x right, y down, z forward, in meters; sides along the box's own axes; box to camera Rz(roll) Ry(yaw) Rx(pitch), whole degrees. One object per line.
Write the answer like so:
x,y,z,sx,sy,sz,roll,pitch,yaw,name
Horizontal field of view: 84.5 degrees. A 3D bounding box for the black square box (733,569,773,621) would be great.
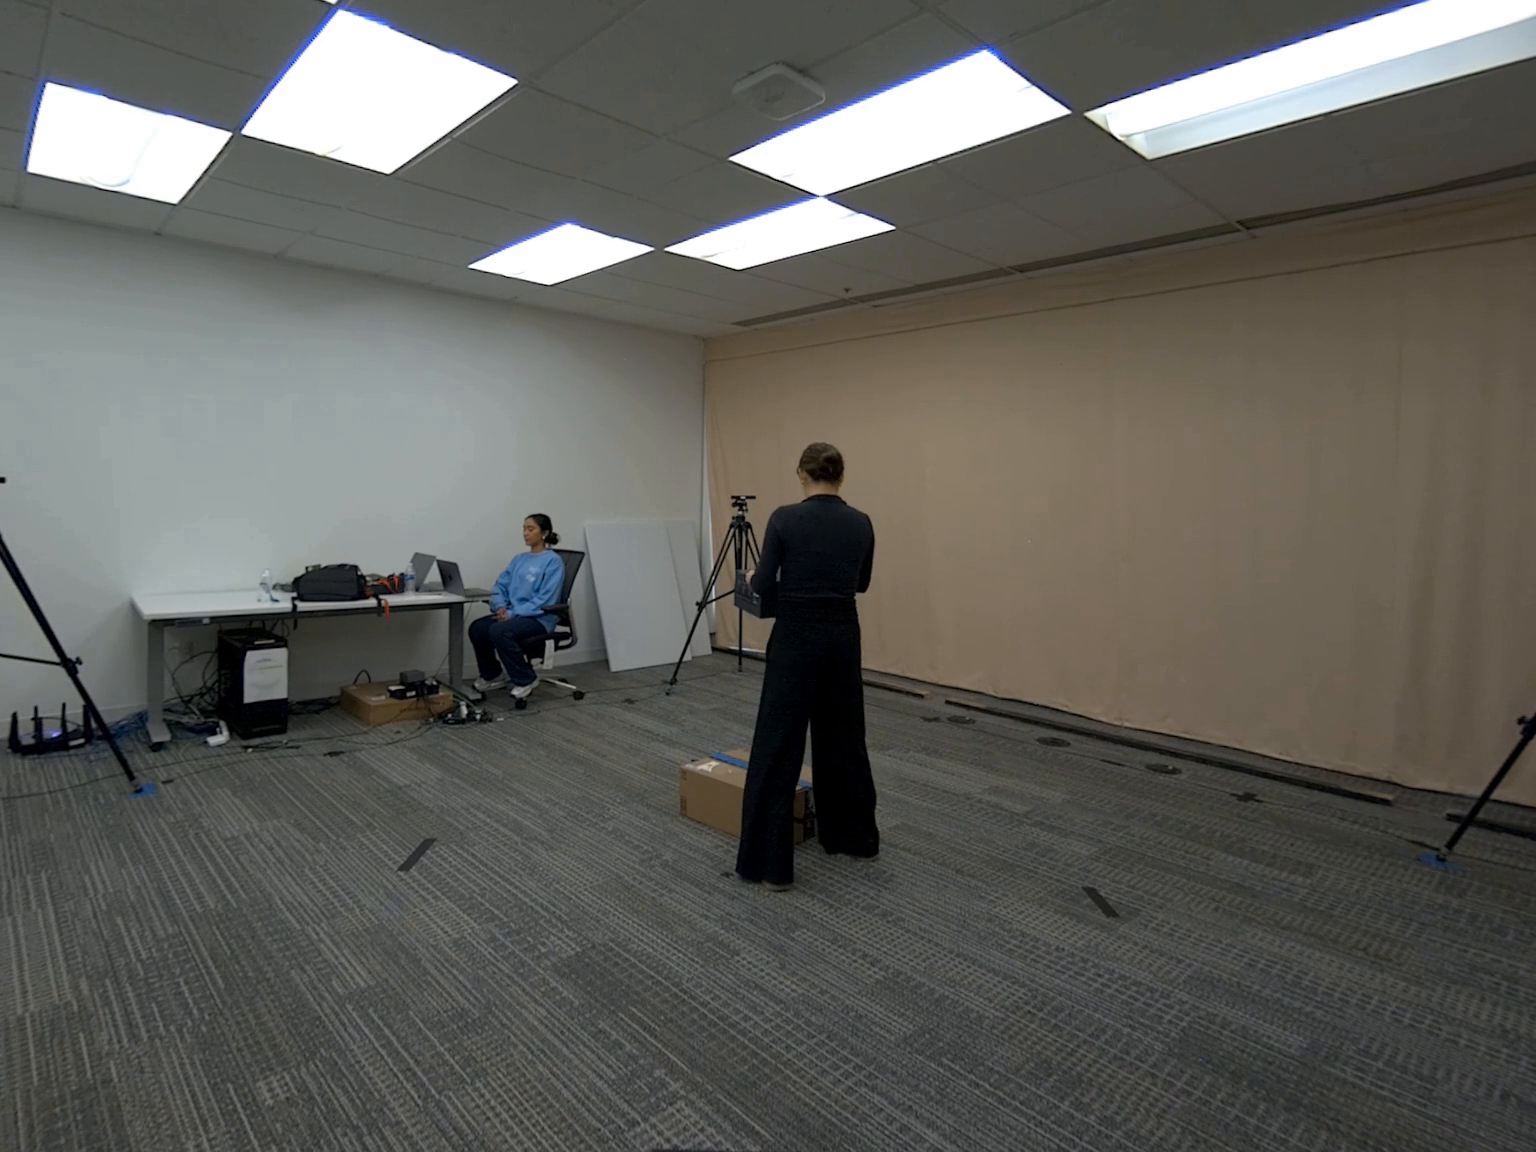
0.013,0.069,3.533,0.223,0.155,0.223,-4,14,-32,black square box
